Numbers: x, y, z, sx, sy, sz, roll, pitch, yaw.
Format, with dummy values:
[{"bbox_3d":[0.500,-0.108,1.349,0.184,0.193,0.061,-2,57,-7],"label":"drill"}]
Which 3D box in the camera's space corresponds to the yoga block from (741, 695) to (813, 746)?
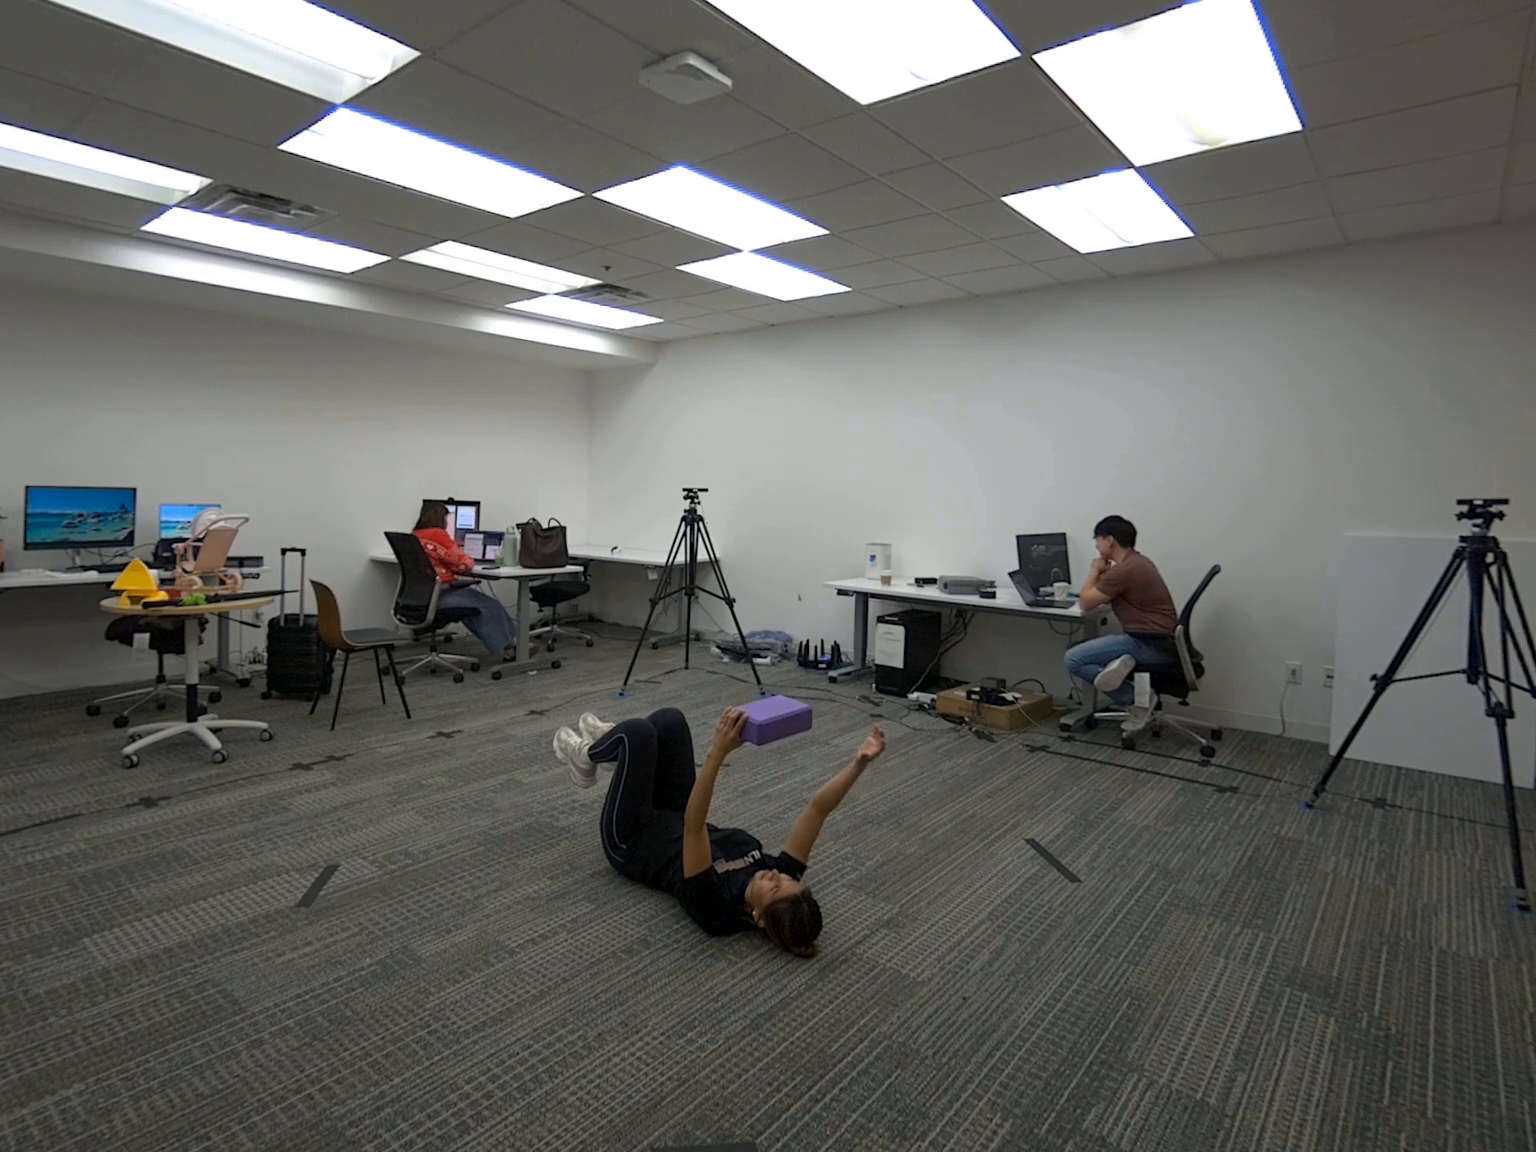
[{"bbox_3d":[0.014,0.431,2.547,0.223,0.076,0.154,-7,12,-37],"label":"yoga block"}]
